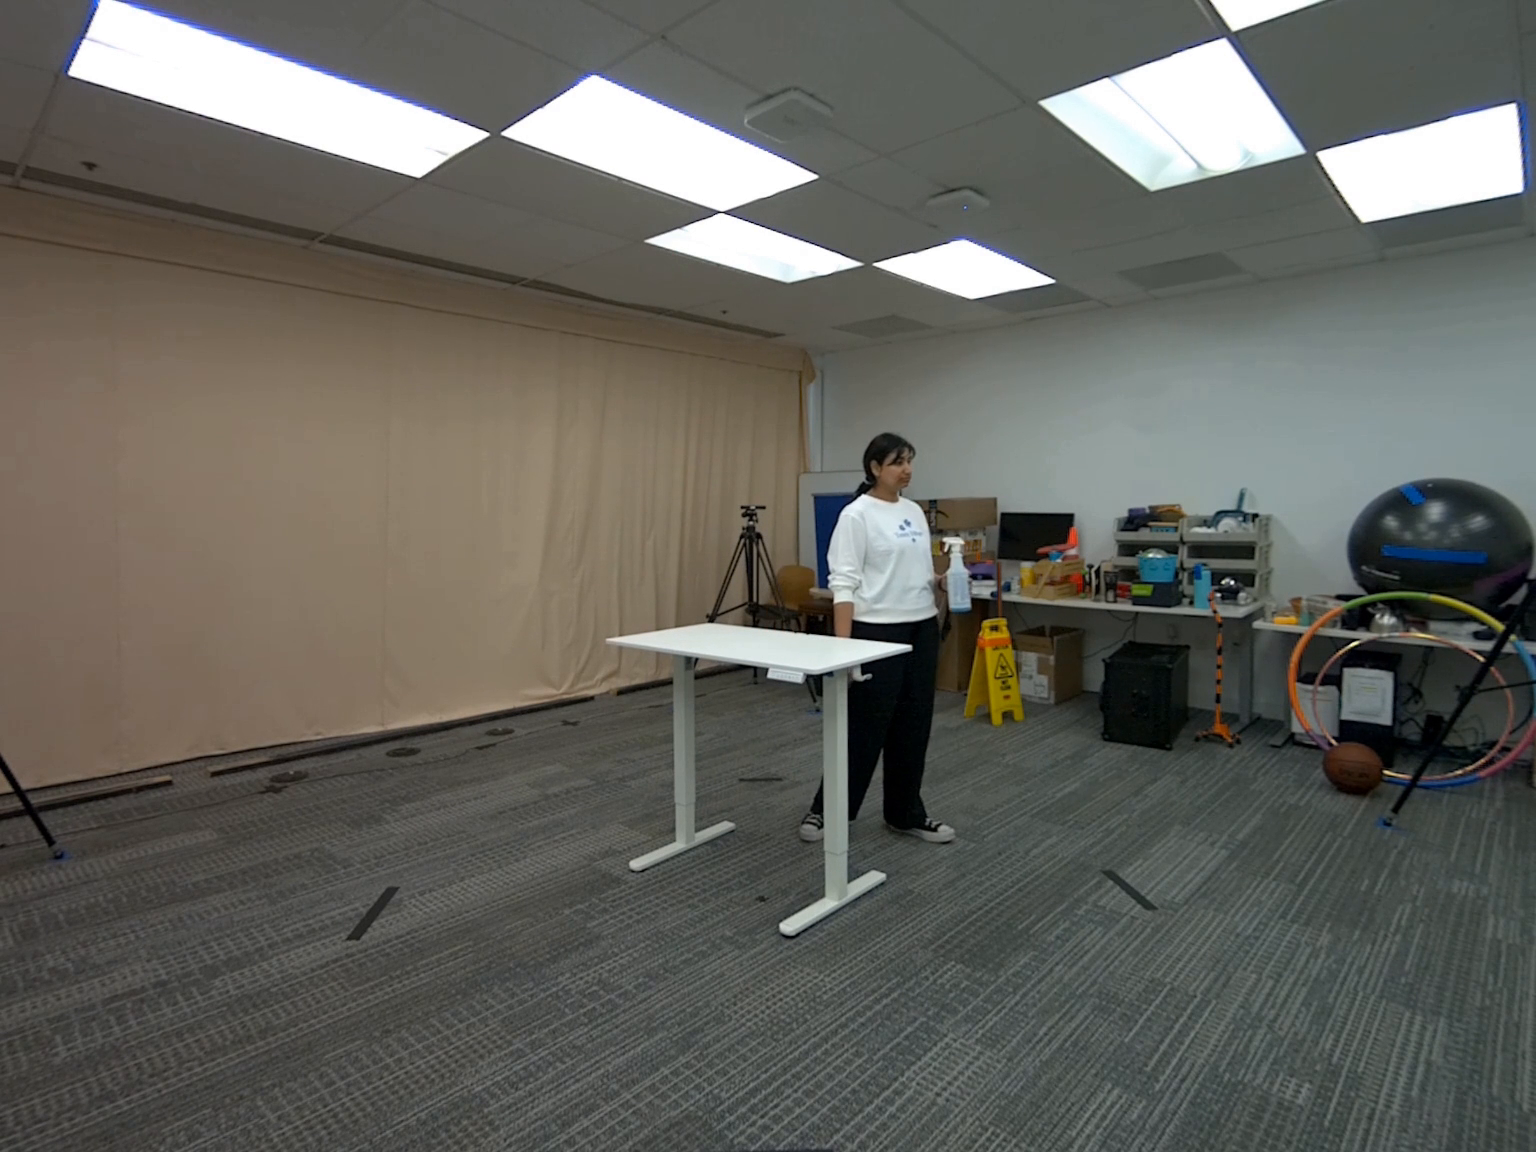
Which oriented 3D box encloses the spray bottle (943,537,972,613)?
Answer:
[{"bbox_3d":[0.741,-0.006,3.387,0.091,0.296,0.086,-4,4,11],"label":"spray bottle"}]
